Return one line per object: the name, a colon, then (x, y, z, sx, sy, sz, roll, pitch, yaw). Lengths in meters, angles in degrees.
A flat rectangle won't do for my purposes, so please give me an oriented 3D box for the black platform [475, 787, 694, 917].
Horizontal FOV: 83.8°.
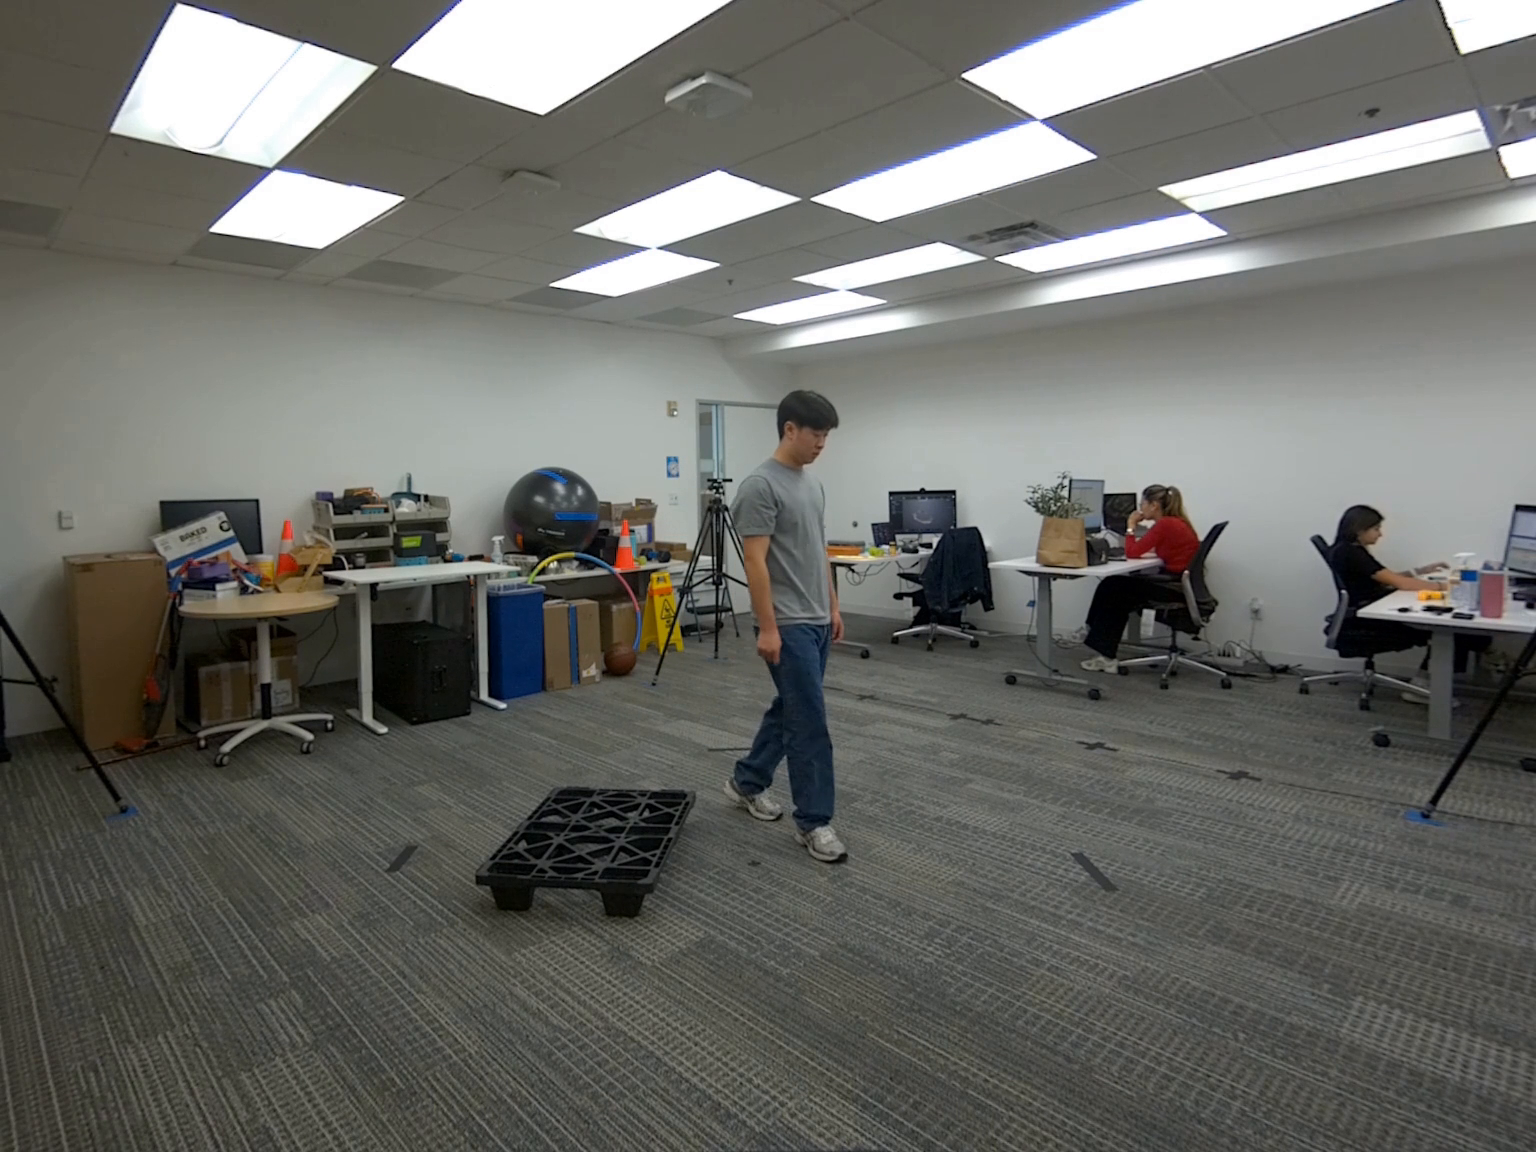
black platform: (-0.615, 0.983, 3.126, 0.610, 0.142, 0.804, 0, 7, 6)
